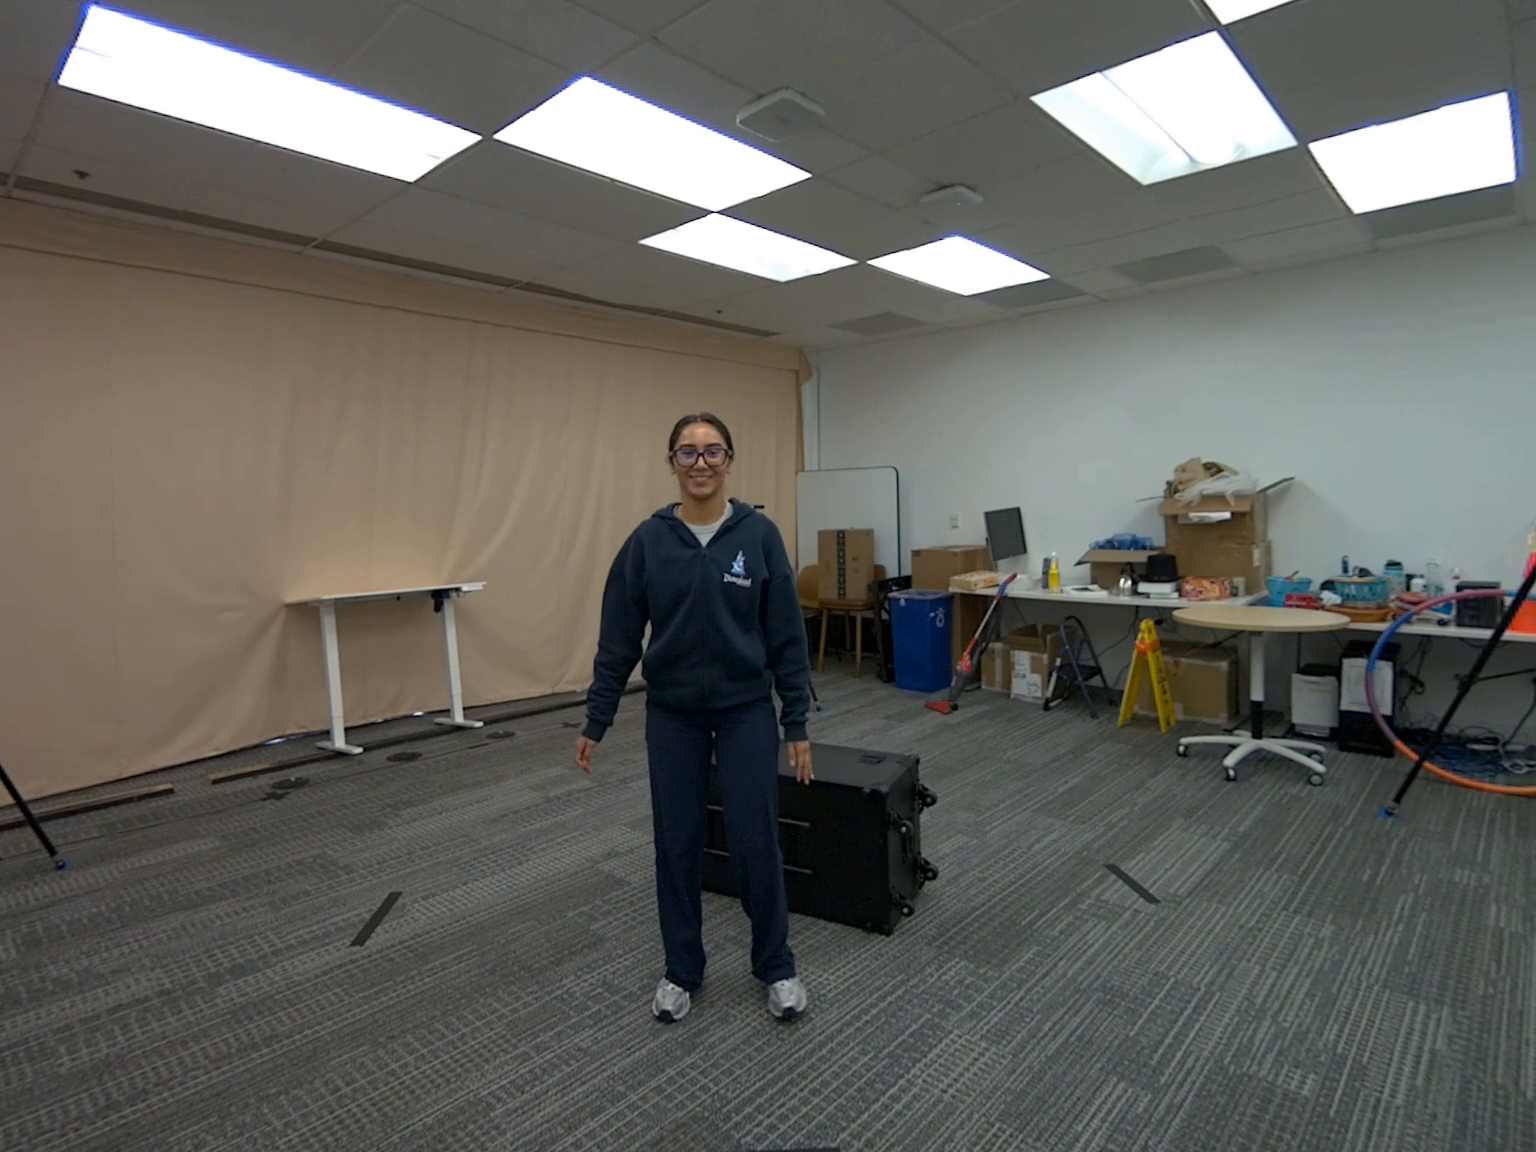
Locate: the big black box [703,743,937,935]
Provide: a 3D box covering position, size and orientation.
[{"bbox_3d":[0.138,0.881,2.997,0.885,0.519,0.387,1,6,29],"label":"big black box"}]
